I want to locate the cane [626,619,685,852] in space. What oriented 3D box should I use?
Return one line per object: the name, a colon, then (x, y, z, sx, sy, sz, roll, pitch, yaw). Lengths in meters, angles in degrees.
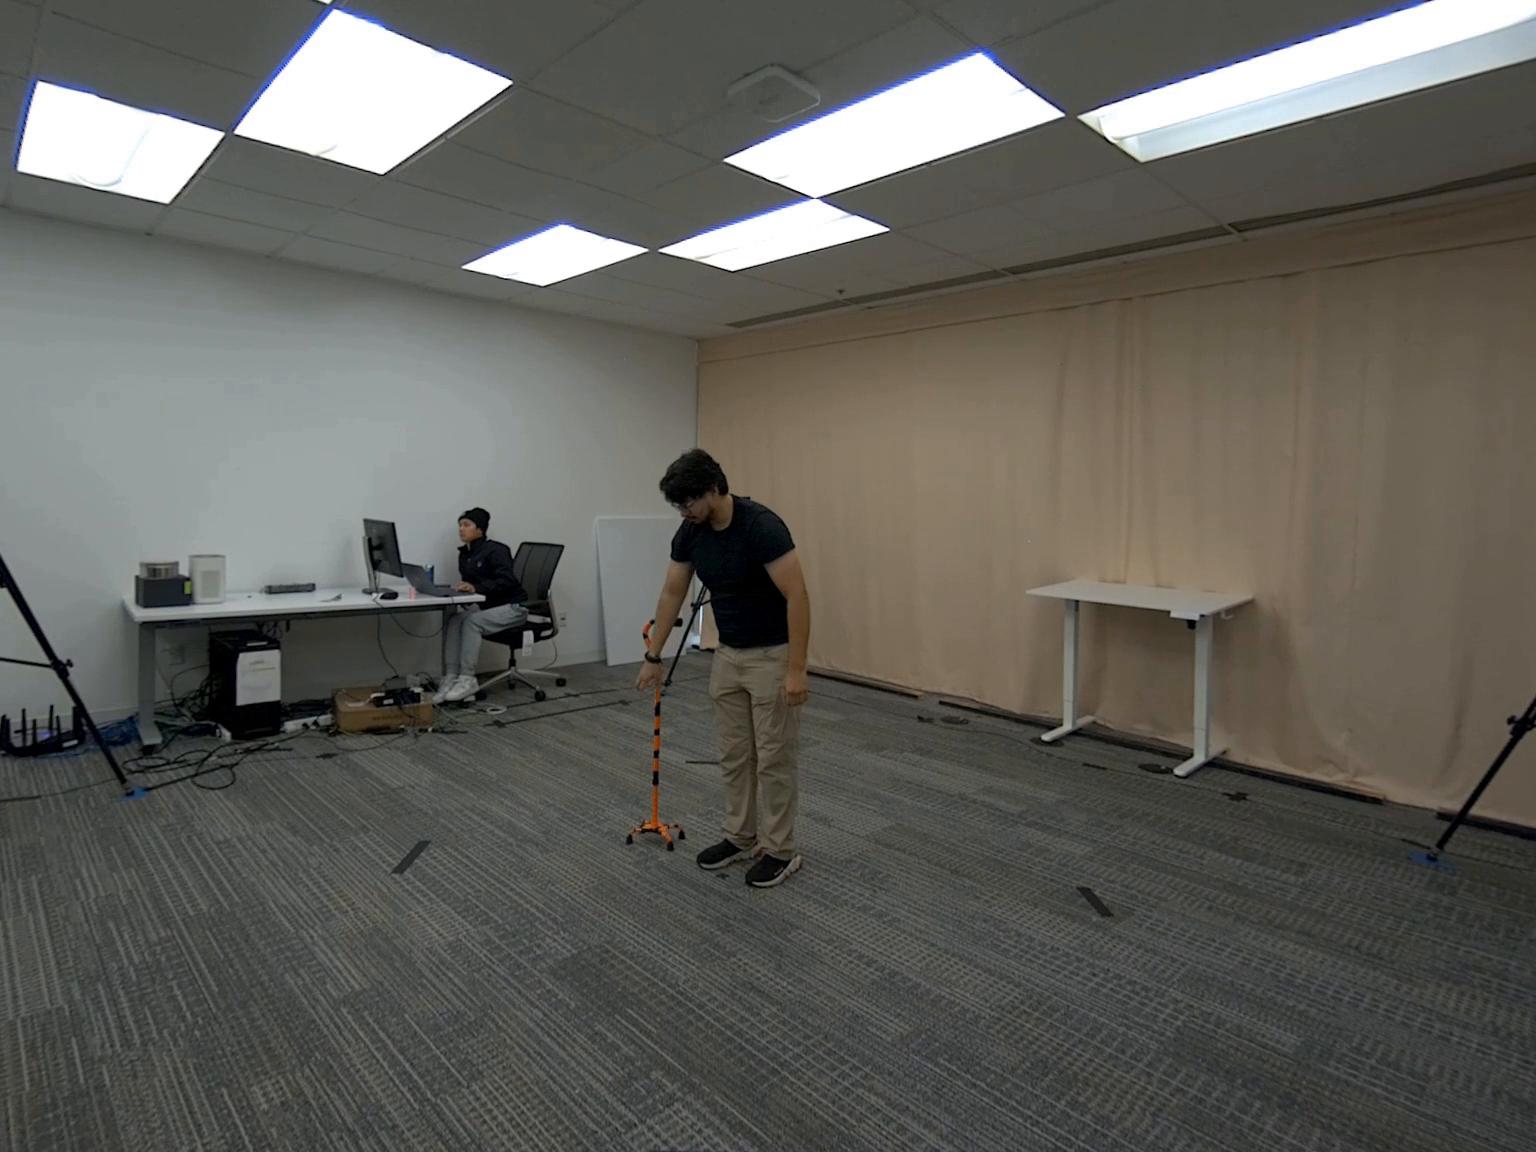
cane: (-0.451, 0.617, 3.388, 0.209, 0.906, 0.150, 2, 3, 16)
